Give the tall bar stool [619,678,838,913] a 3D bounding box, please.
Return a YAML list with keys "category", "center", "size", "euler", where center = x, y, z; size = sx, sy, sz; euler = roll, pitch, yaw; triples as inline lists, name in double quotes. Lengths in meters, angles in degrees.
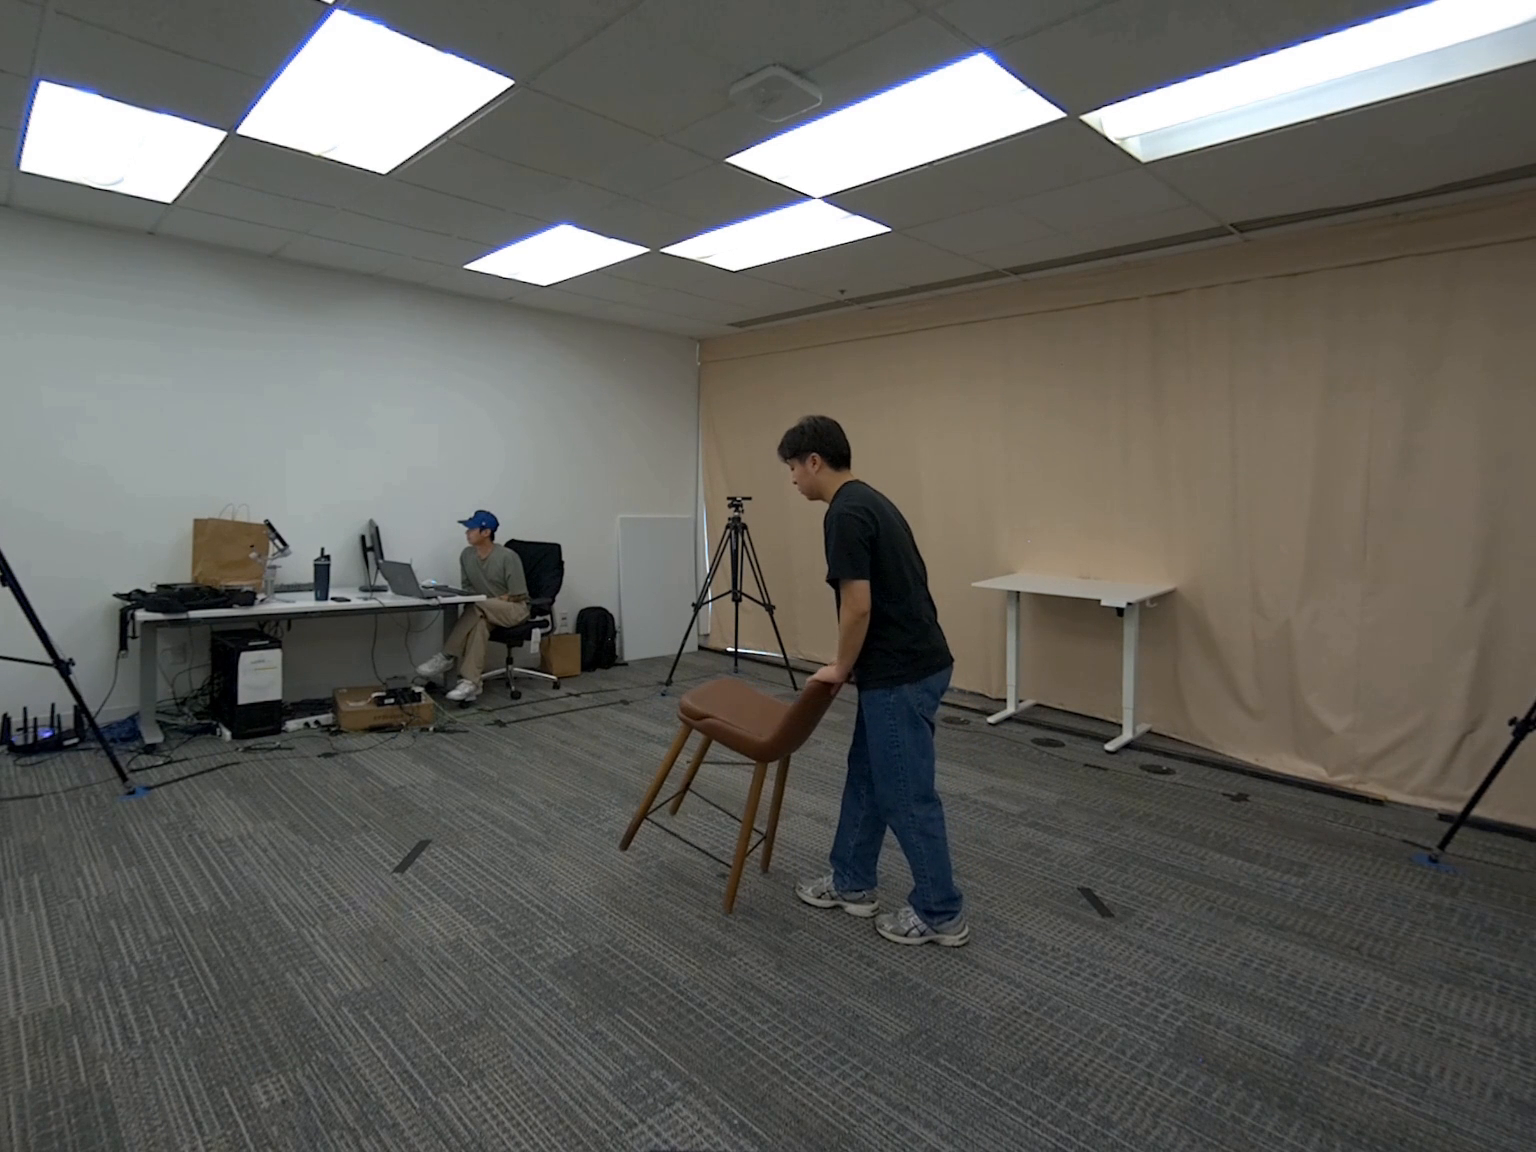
- category: "tall bar stool"
  center: [-0.113, 0.640, 2.983]
  size: [0.477, 0.885, 0.449]
  euler: [26, 12, 20]
